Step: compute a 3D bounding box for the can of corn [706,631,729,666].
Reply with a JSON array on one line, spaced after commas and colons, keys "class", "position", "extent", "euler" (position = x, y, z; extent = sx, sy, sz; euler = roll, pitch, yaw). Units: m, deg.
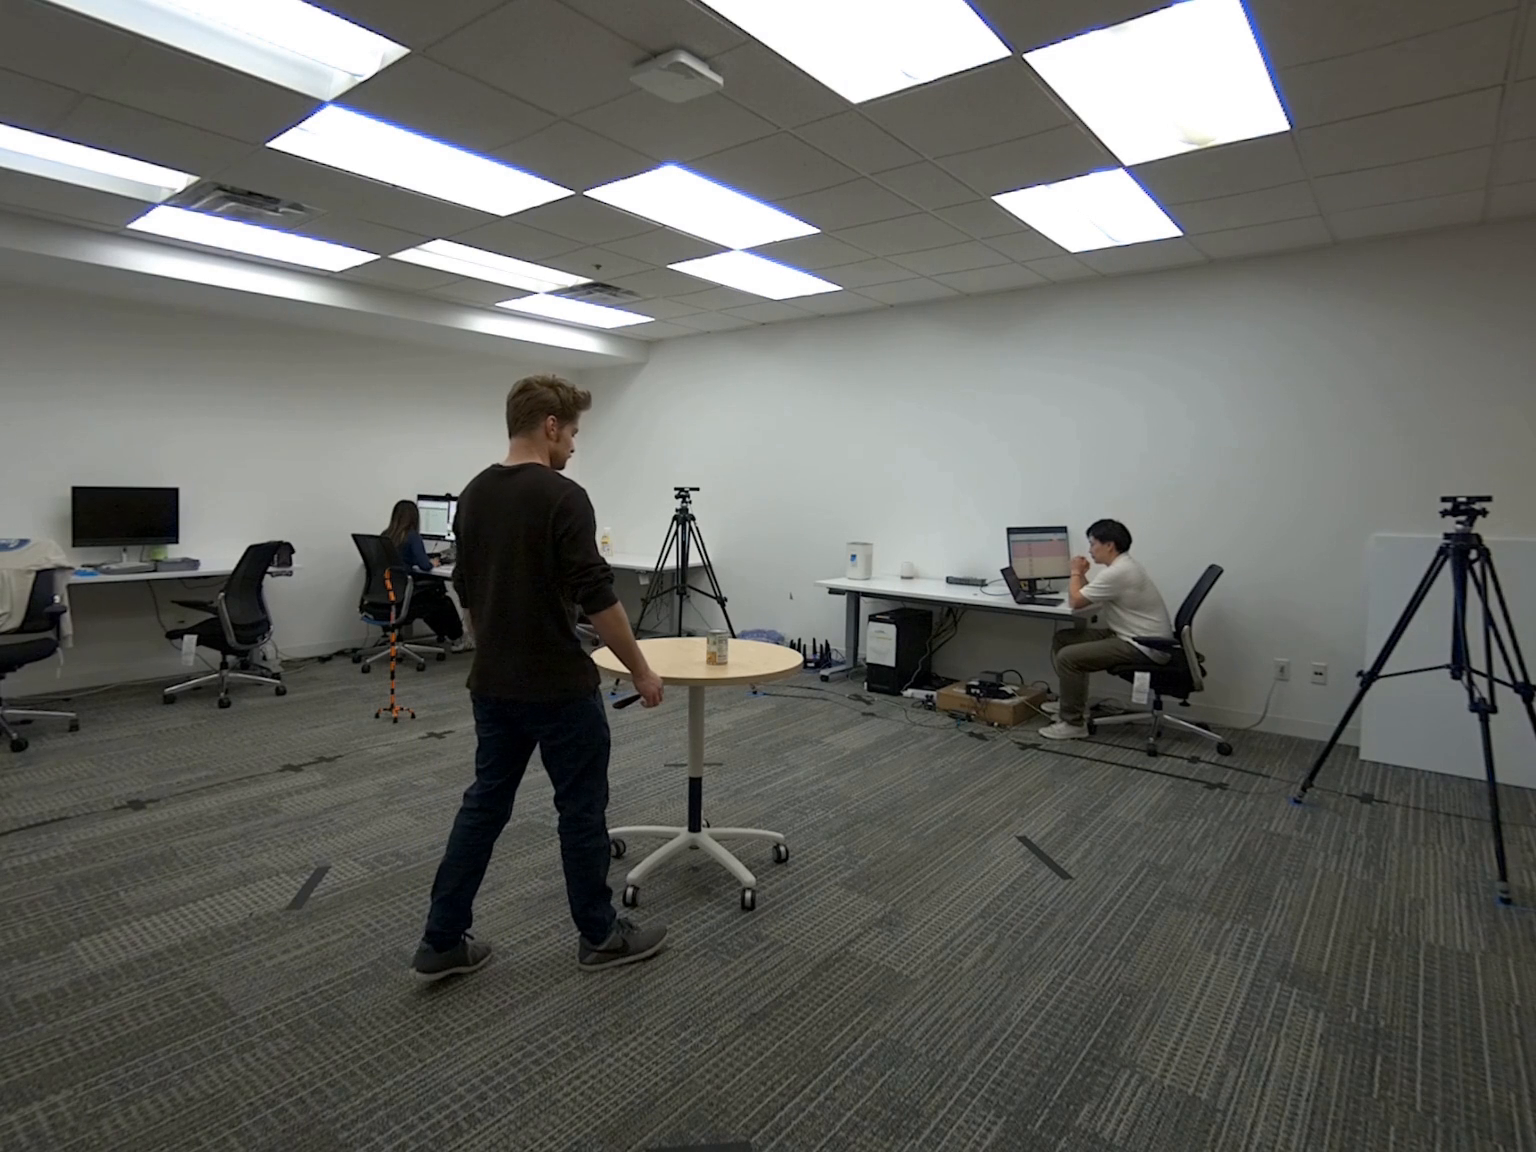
[{"class": "can of corn", "position": [-0.179, 0.245, 2.932], "extent": [0.074, 0.111, 0.074], "euler": [2, 4, -2]}]
